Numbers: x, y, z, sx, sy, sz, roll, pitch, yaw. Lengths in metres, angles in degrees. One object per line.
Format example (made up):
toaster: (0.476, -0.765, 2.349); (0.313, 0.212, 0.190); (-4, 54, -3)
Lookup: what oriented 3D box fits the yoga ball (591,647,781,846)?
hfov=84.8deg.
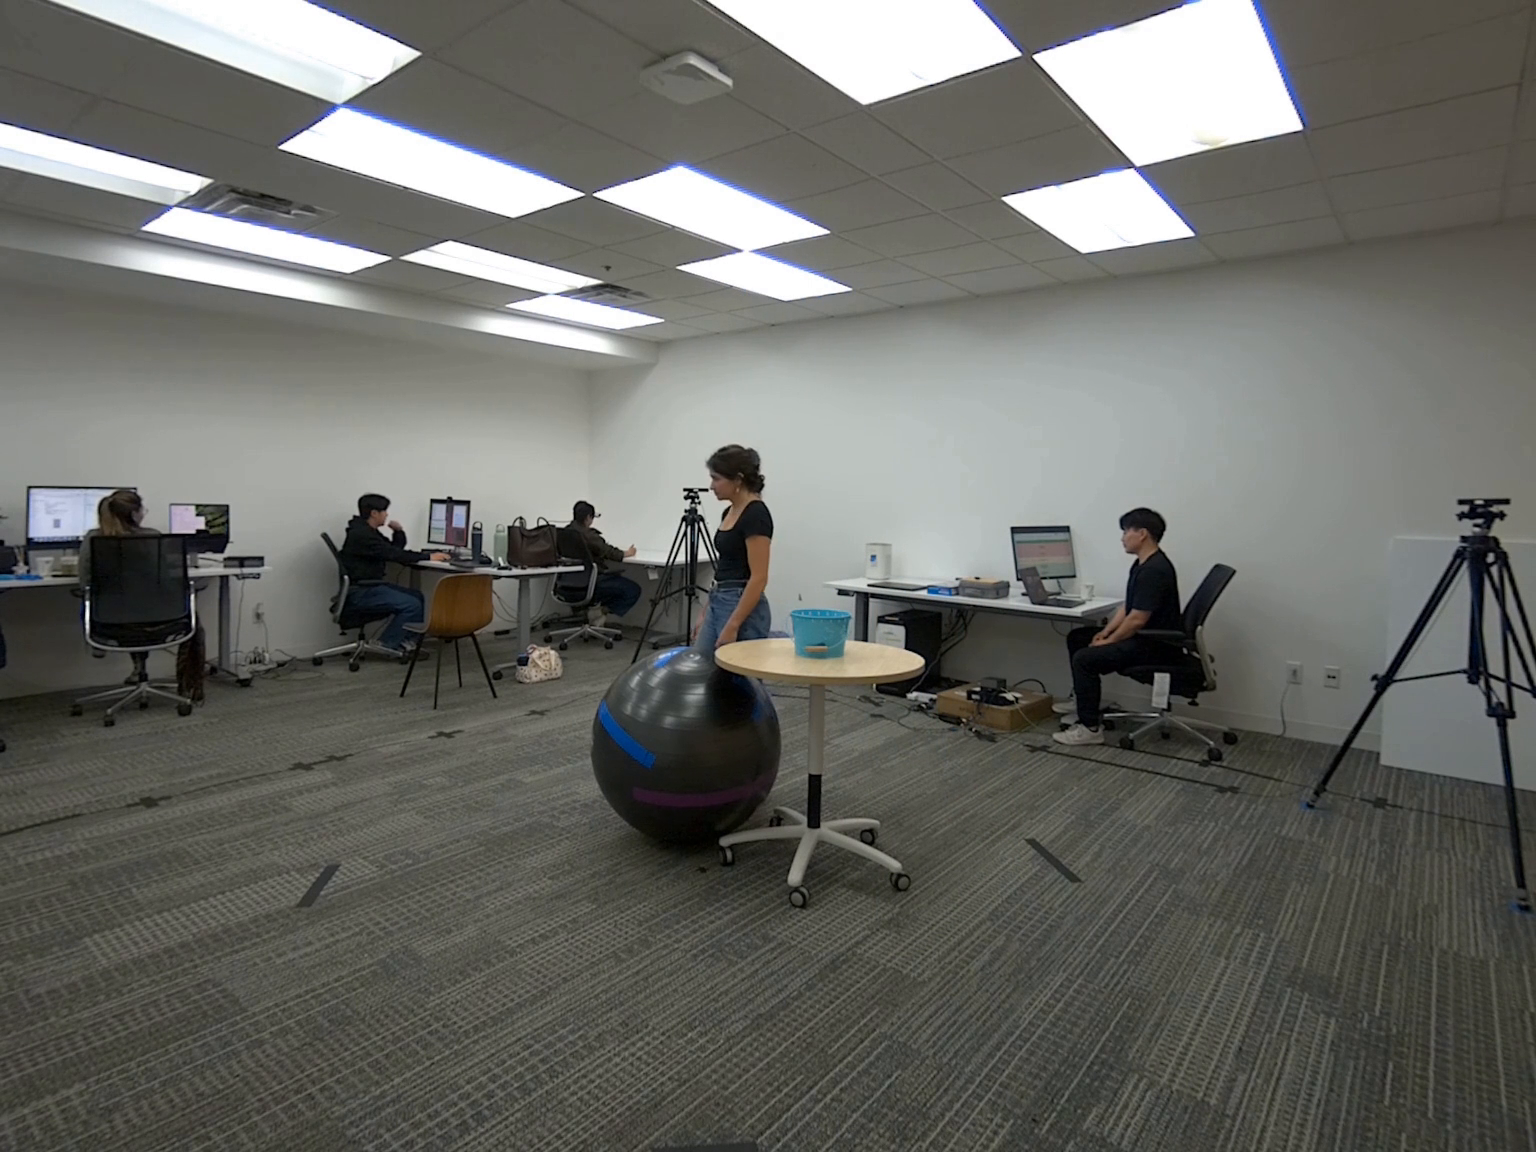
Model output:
yoga ball: (-0.344, 0.679, 3.385); (0.757, 0.756, 0.762); (1, 4, -2)
